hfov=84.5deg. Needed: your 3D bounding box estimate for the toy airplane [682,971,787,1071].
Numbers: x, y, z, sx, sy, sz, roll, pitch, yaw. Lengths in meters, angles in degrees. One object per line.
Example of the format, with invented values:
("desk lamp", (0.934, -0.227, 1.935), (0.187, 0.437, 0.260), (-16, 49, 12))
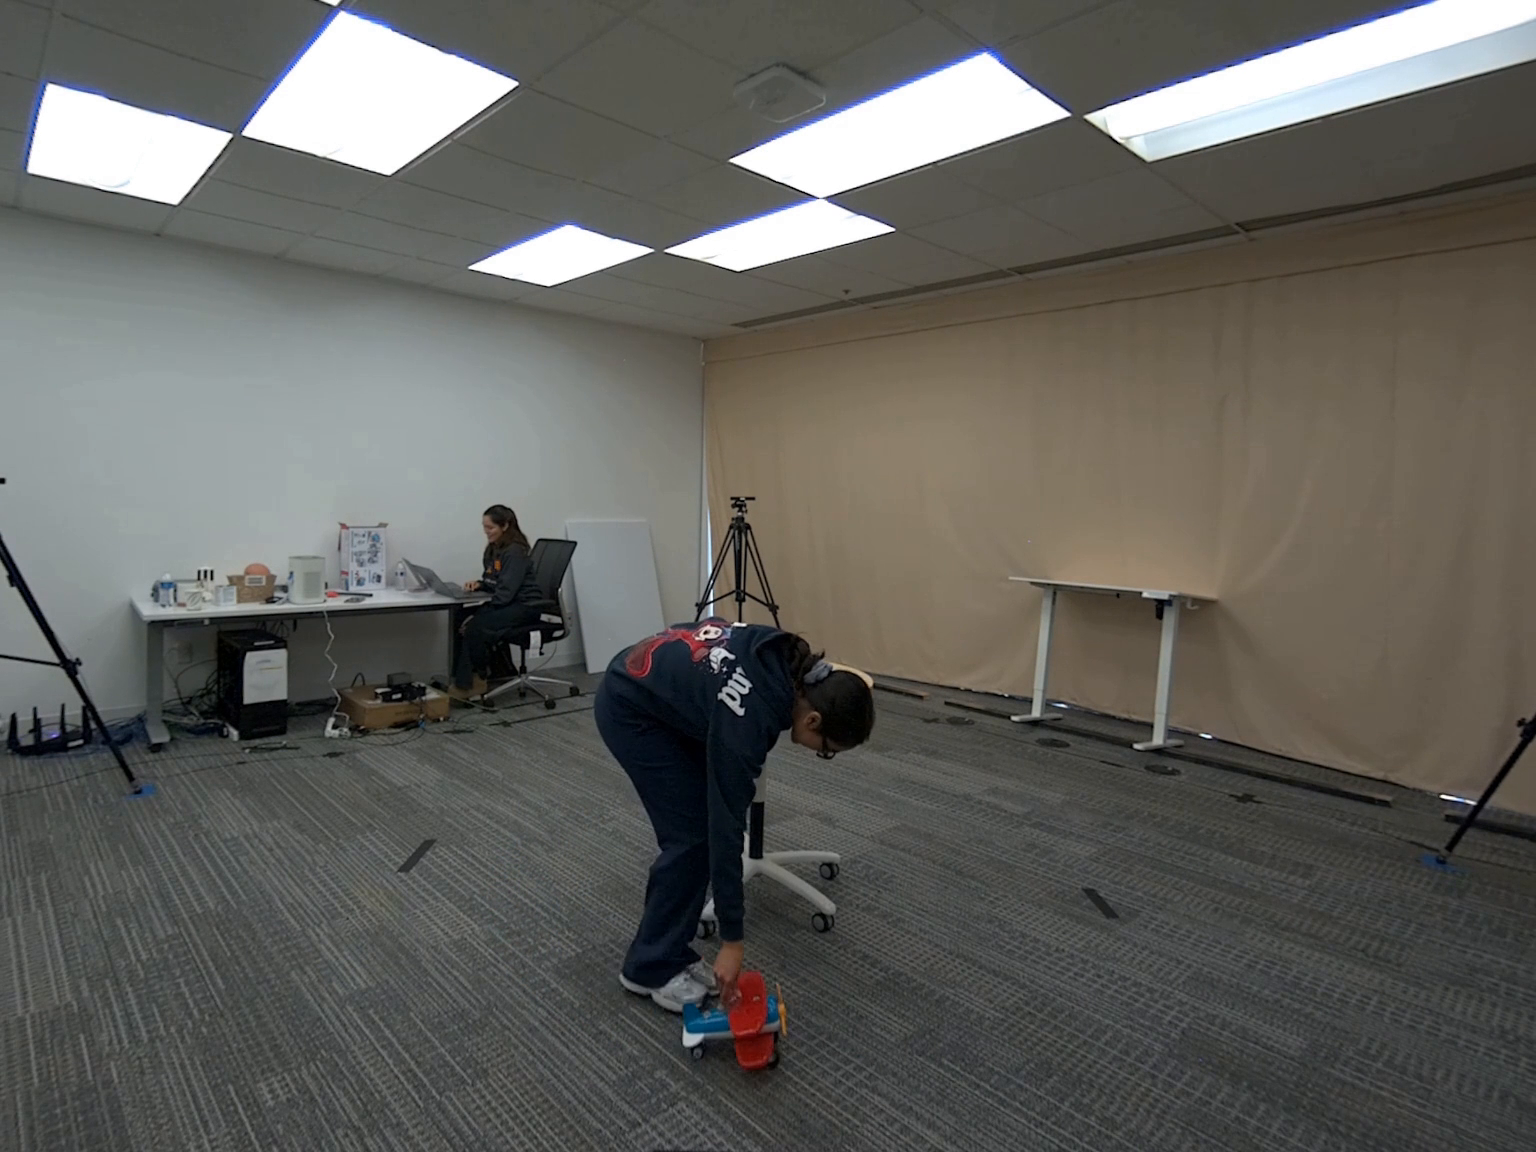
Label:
("toy airplane", (-0.086, 1.136, 2.083), (0.254, 0.156, 0.257), (-2, 6, -29))
